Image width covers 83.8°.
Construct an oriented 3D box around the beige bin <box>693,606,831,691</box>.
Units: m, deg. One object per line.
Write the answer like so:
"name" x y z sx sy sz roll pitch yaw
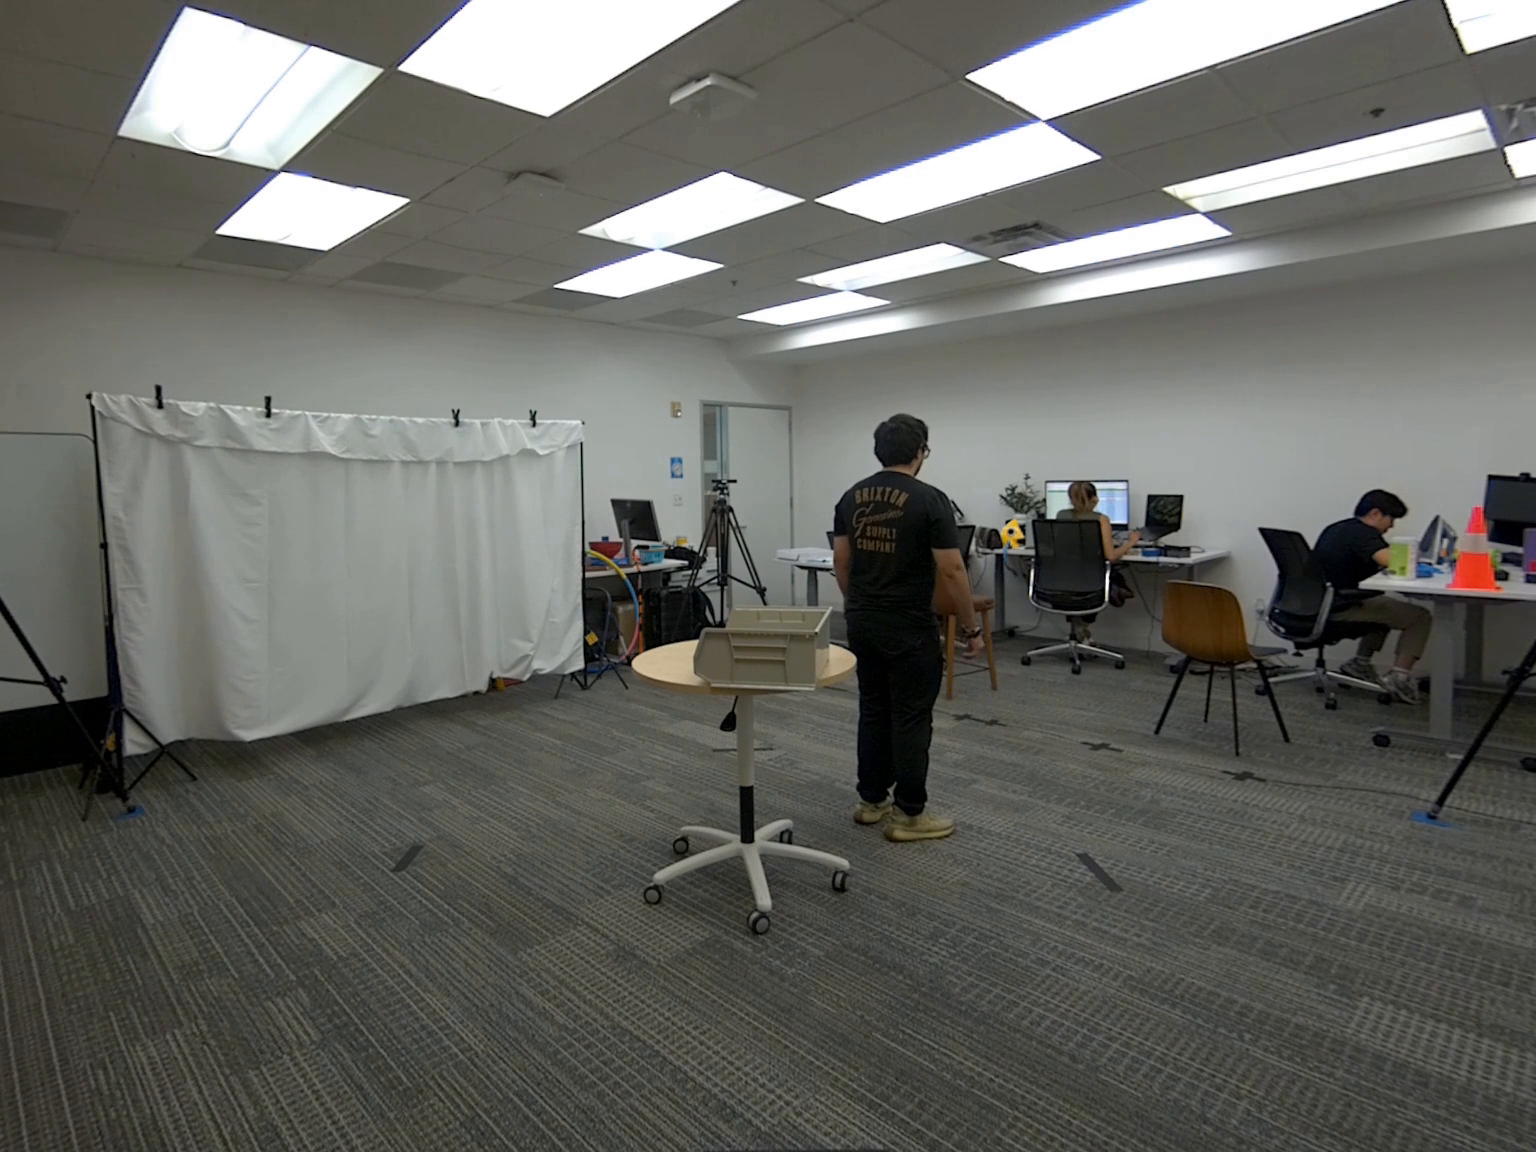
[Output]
"beige bin" -0.003 0.225 2.711 0.382 0.188 0.419 1 7 12
